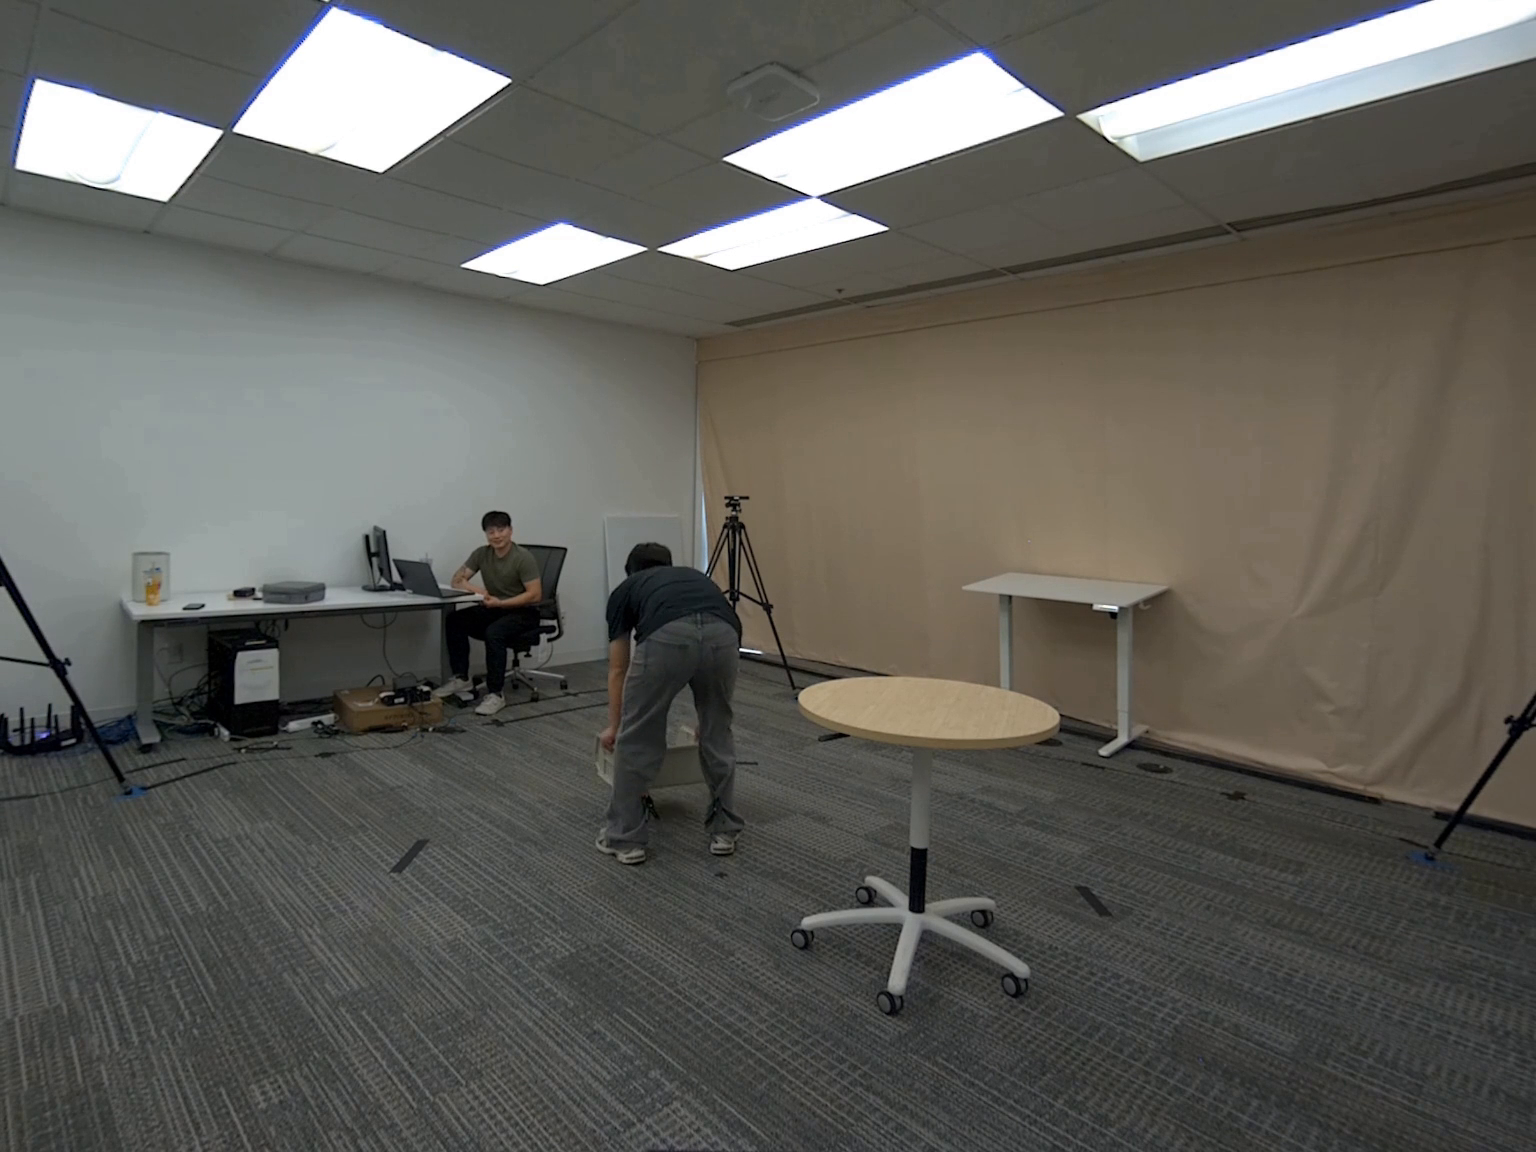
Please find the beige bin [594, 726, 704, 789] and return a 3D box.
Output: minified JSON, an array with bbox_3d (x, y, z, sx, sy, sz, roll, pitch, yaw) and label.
[{"bbox_3d":[-0.510,0.786,3.677,0.414,0.188,0.386,-1,5,-28],"label":"beige bin"}]
